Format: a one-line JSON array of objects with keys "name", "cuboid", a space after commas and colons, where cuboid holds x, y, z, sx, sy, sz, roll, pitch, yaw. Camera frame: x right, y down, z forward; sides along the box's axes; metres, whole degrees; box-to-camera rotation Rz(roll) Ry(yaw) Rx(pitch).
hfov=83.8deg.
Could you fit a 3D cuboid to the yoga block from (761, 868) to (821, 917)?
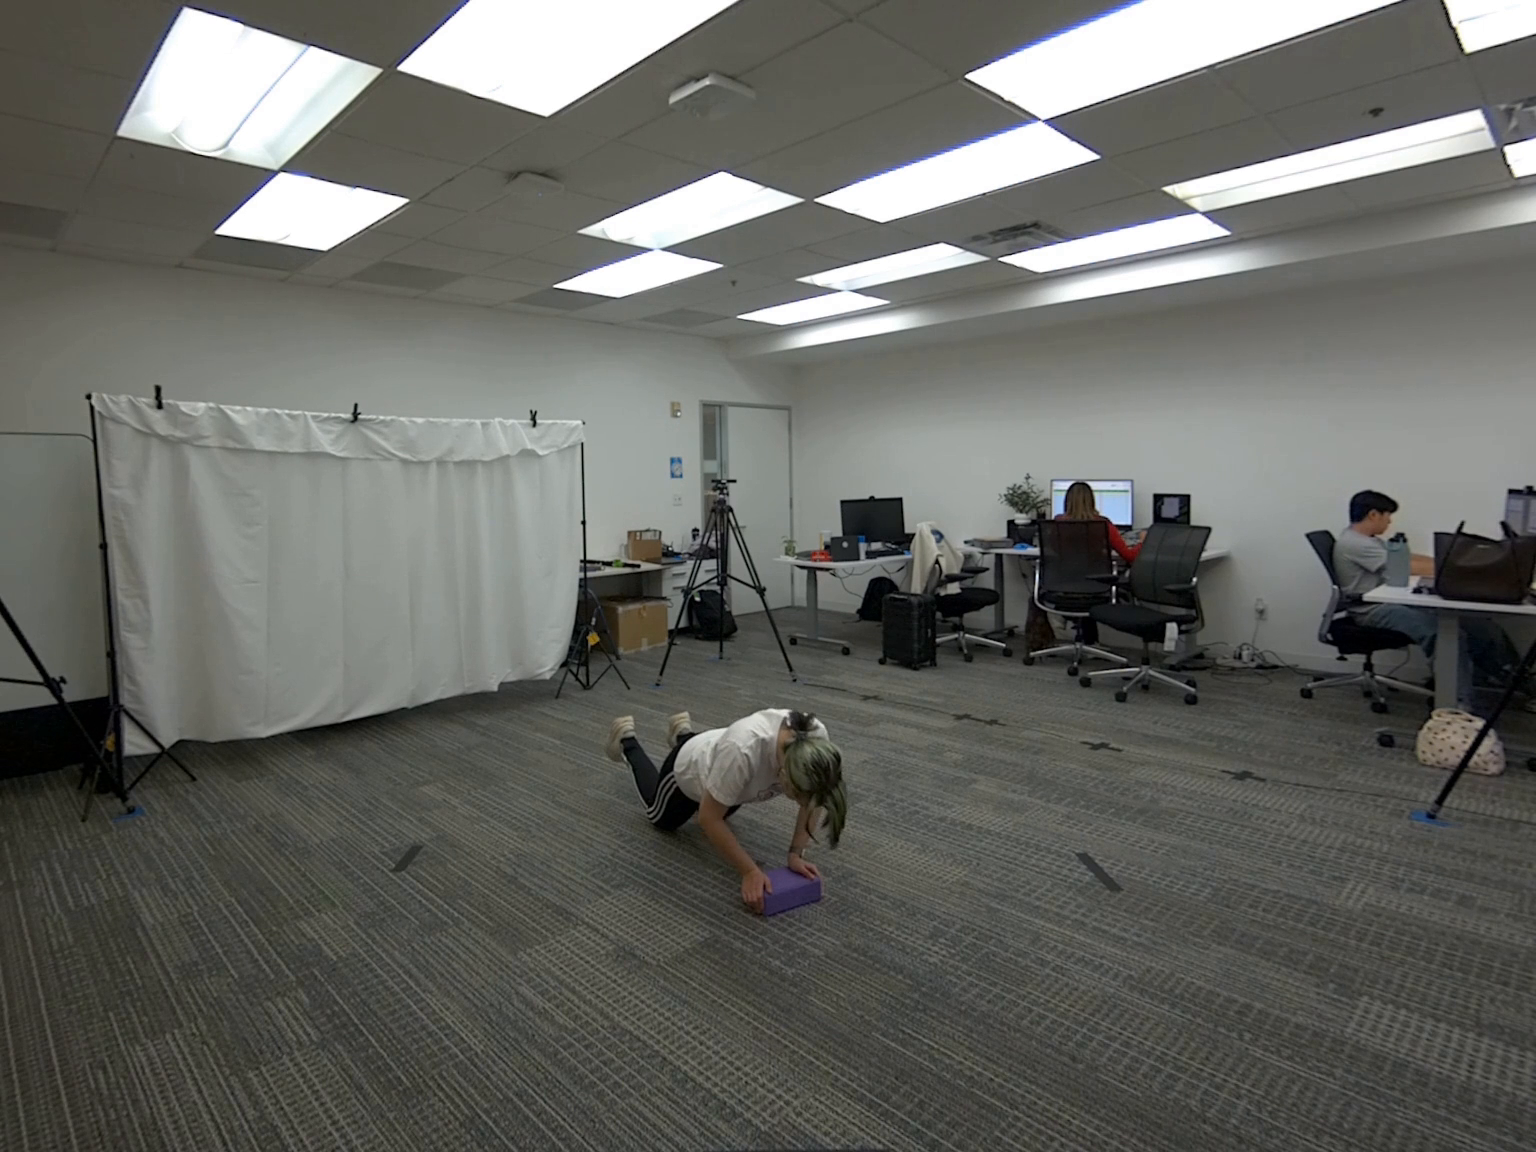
[{"name": "yoga block", "cuboid": [0.047, 1.041, 2.838, 0.224, 0.076, 0.153, -4, 7, -31]}]
